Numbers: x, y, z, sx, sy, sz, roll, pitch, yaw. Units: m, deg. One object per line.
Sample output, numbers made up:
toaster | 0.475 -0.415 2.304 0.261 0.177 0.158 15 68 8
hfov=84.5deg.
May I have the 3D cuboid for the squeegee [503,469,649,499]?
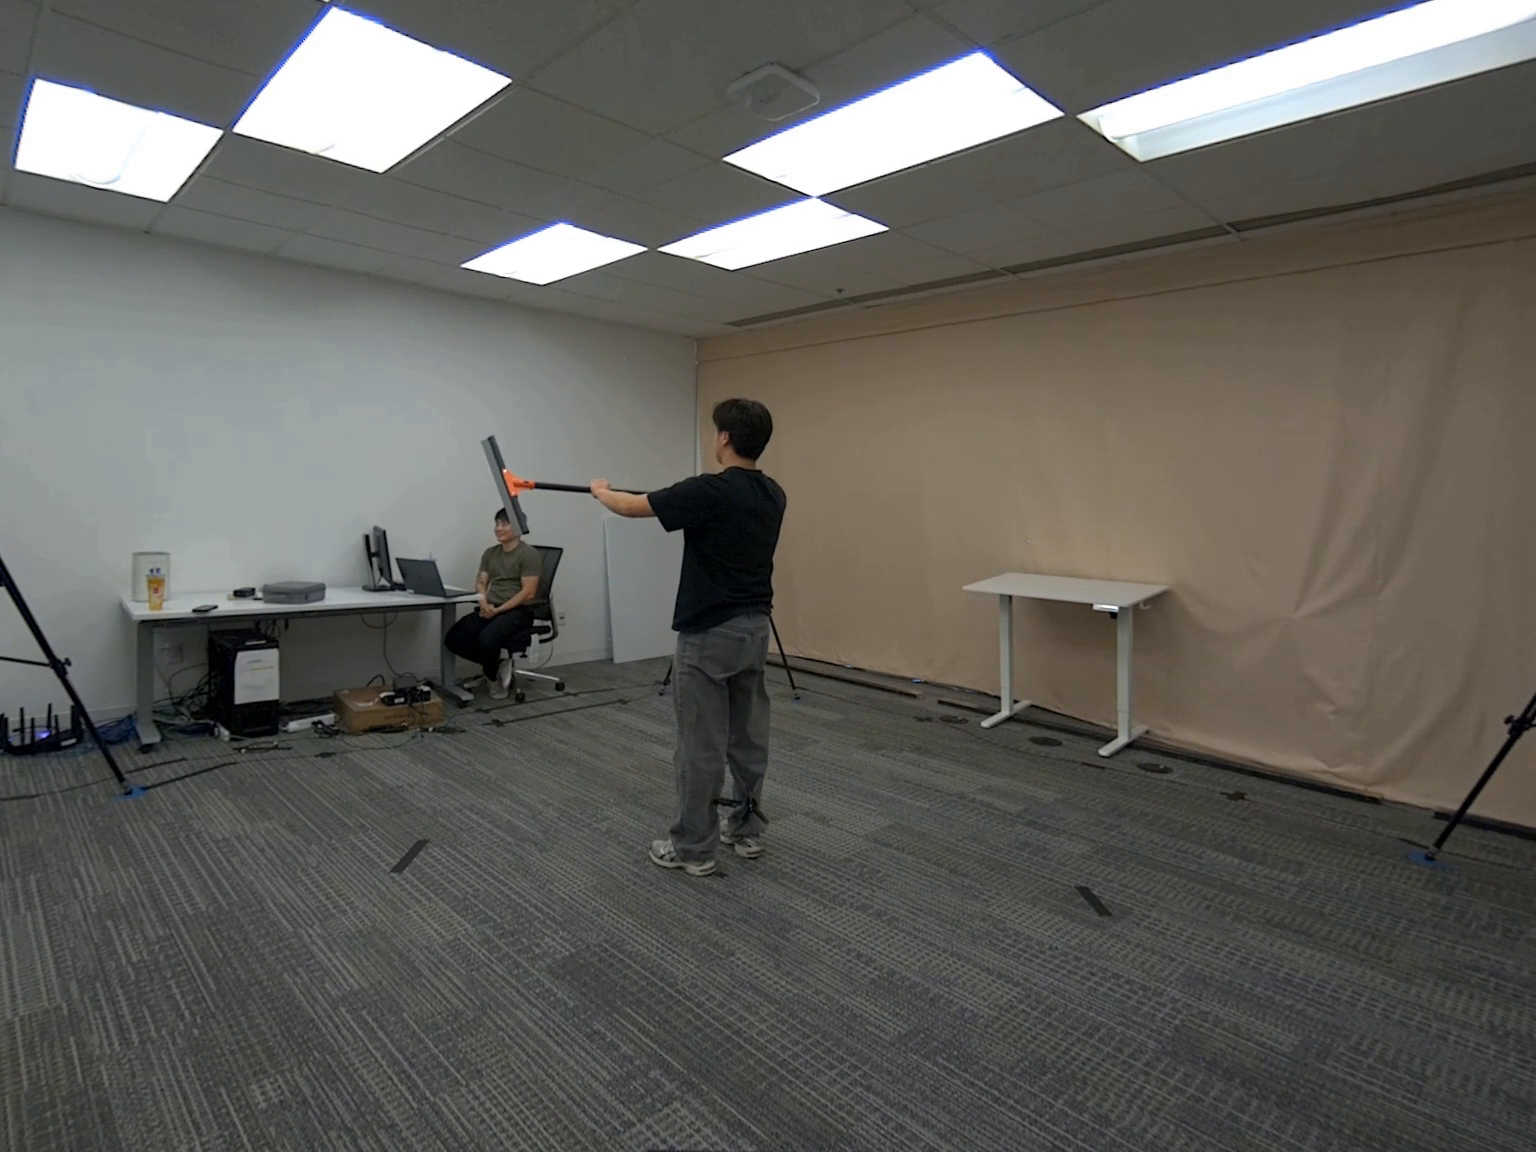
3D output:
squeegee | -0.436 -0.322 3.553 1.501 0.448 0.053 0 -40 -46
